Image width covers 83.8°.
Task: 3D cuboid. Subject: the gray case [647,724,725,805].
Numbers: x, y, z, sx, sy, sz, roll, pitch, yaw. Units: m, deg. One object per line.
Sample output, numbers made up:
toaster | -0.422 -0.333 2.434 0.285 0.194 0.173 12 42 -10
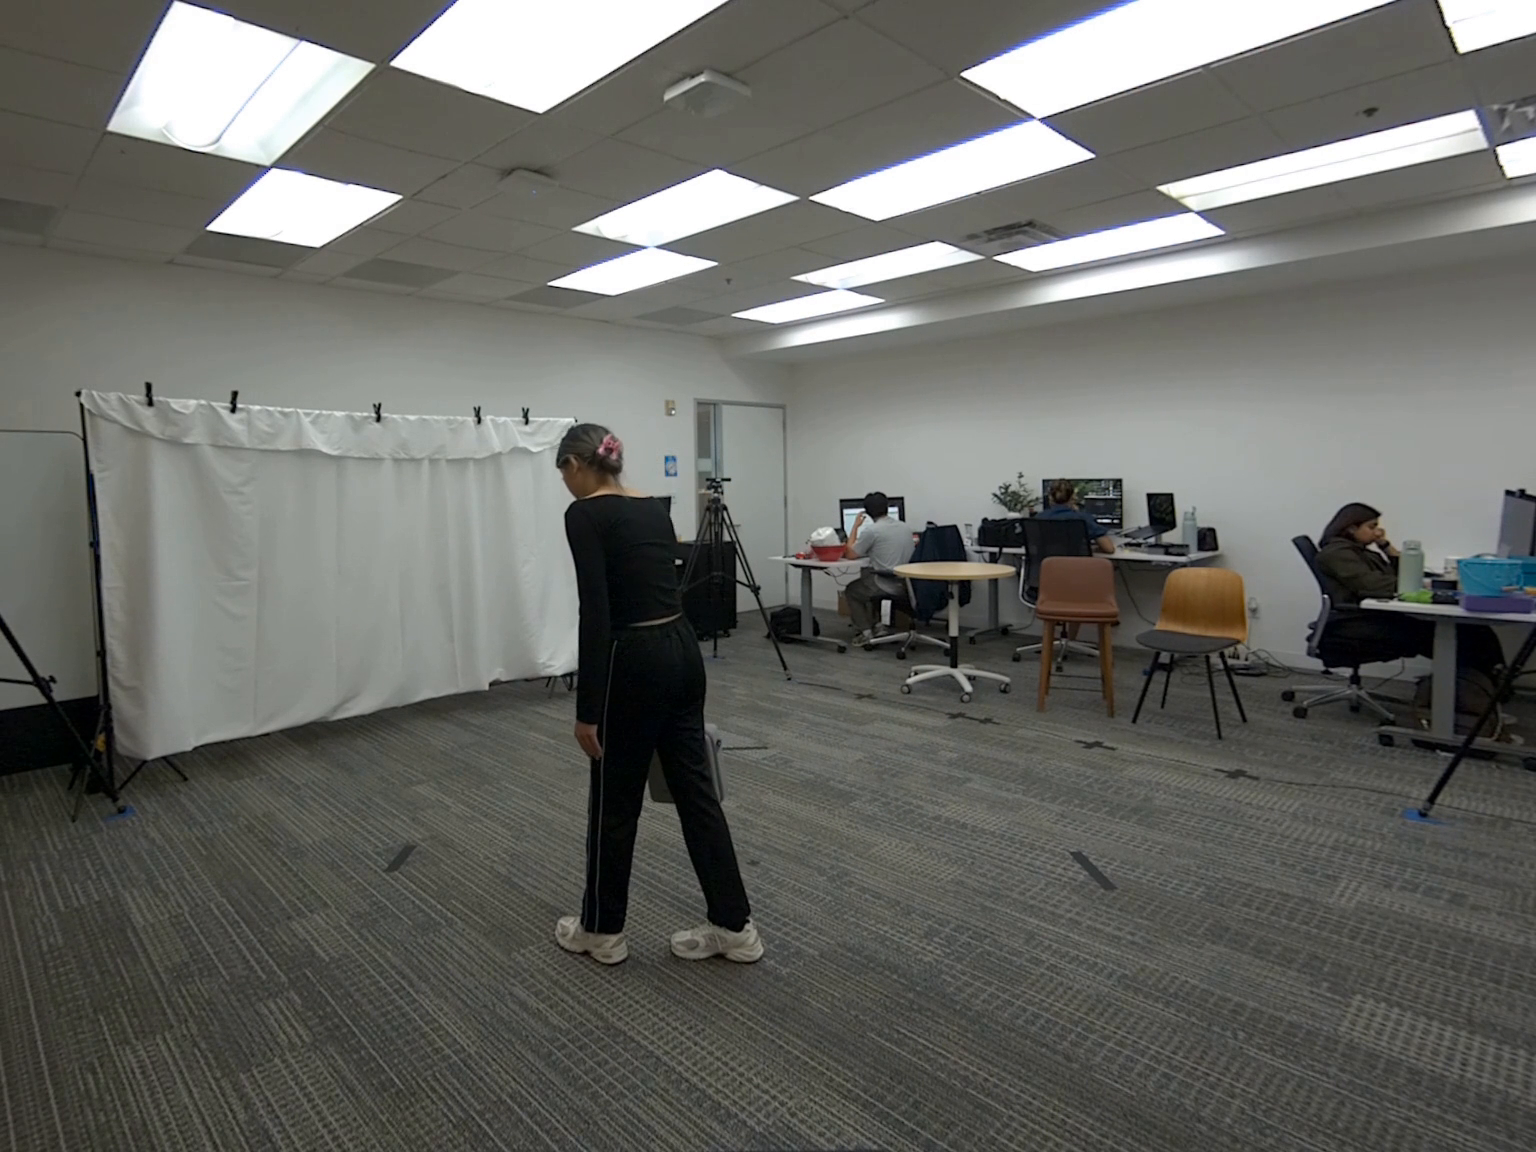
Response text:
gray case | -0.270 0.600 2.747 0.262 0.258 0.103 -2 9 25
